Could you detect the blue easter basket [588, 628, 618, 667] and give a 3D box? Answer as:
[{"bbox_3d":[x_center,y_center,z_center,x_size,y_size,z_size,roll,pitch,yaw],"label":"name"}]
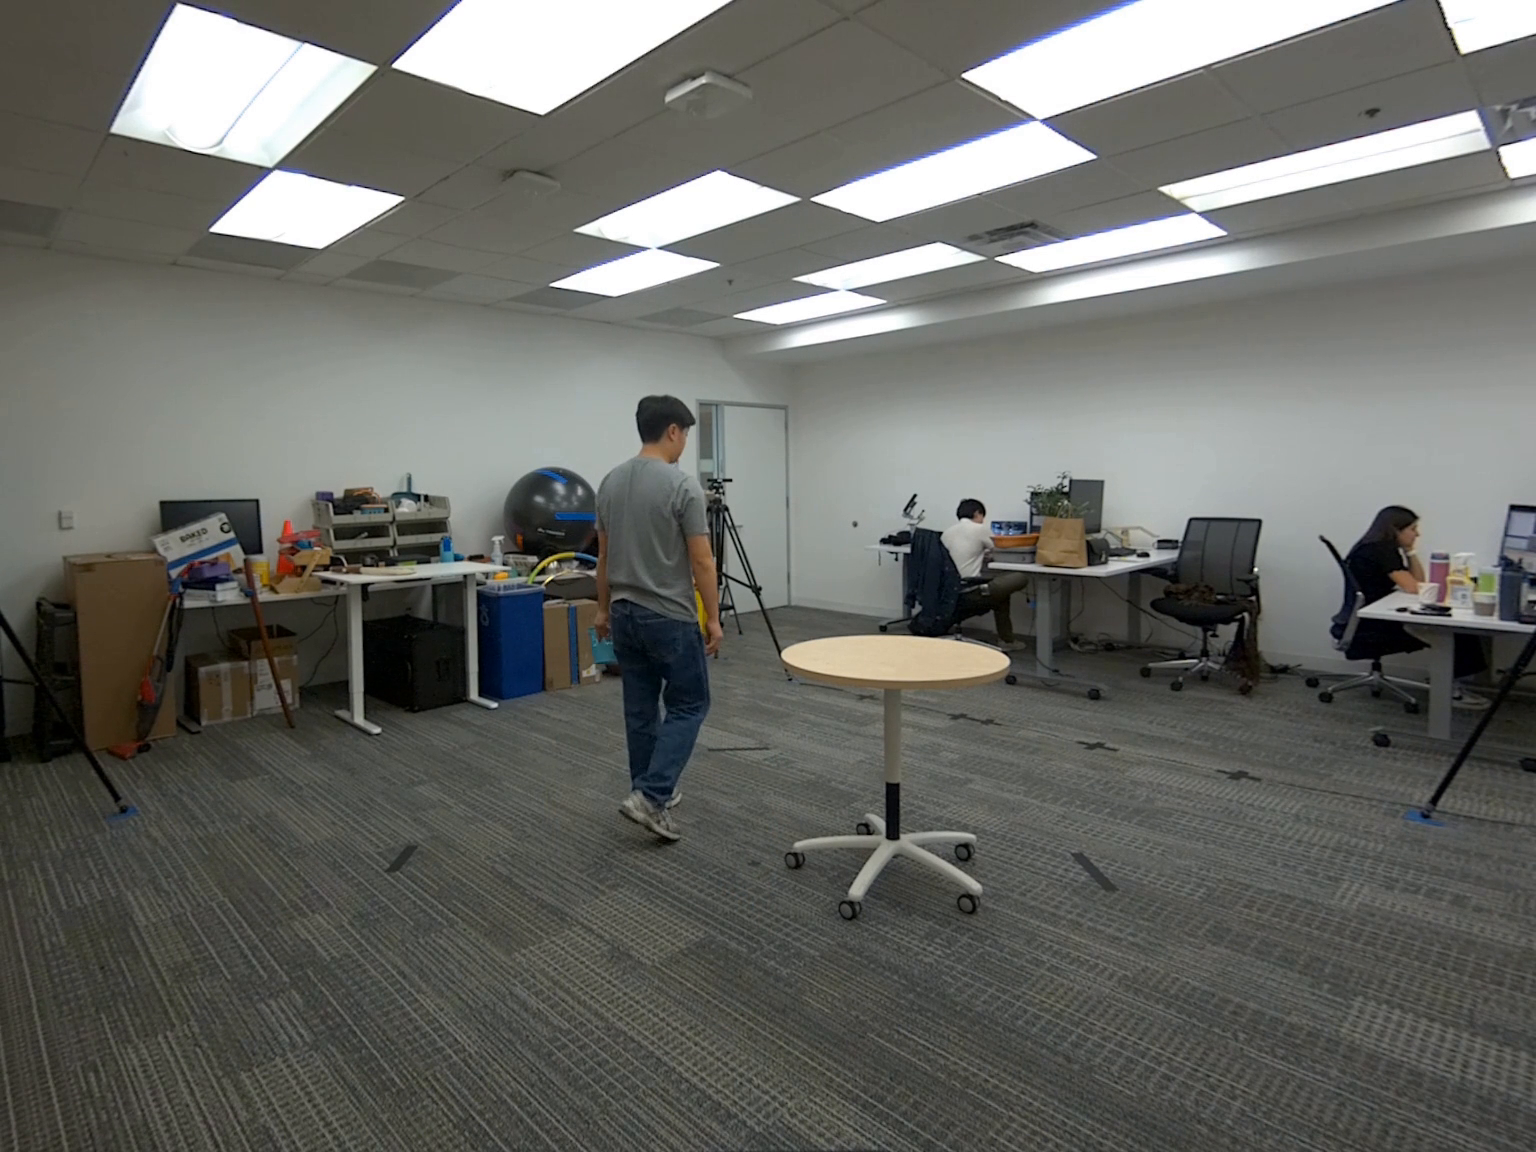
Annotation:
[{"bbox_3d":[-0.670,0.303,3.760,0.243,0.157,0.241,-2,-10,-2],"label":"blue easter basket"}]
